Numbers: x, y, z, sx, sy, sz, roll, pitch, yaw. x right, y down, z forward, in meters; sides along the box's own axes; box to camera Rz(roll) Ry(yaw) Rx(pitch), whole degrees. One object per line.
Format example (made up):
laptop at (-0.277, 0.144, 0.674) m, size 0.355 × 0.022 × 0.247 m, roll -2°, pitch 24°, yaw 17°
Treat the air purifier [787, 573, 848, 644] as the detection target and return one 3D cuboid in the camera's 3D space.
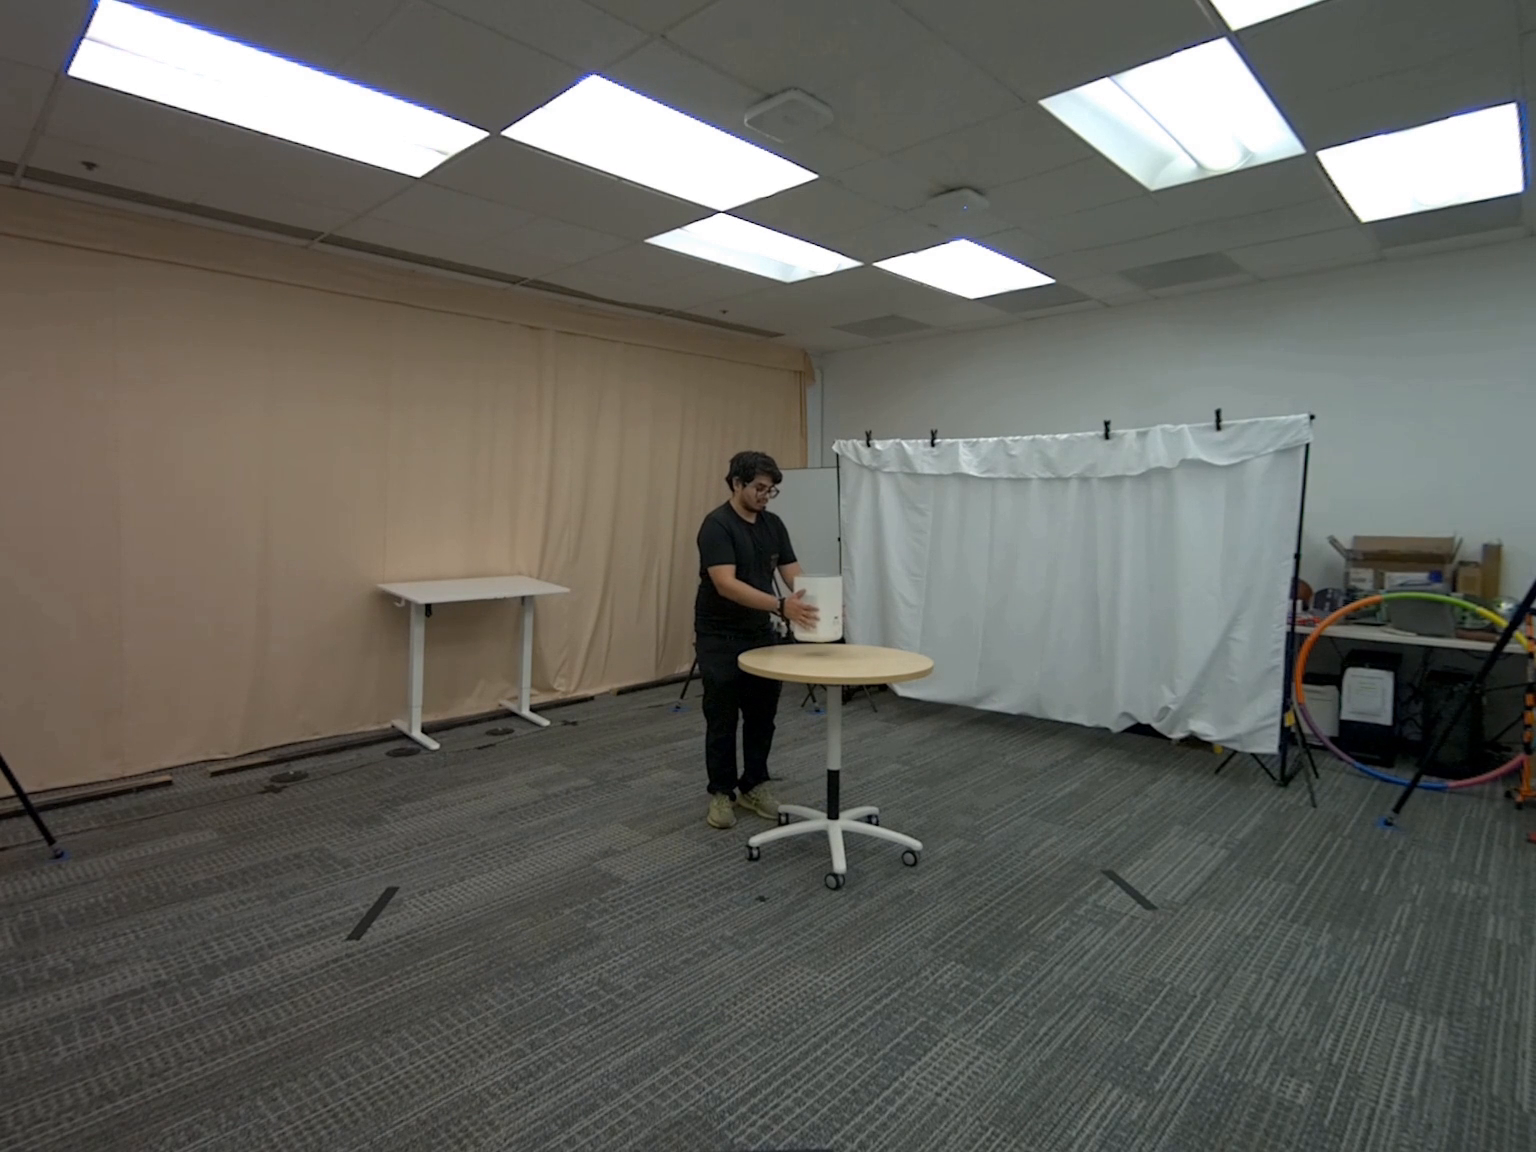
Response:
air purifier at (0.198, 0.123, 3.415) m, size 0.179 × 0.262 × 0.163 m, roll 1°, pitch 1°, yaw 38°
